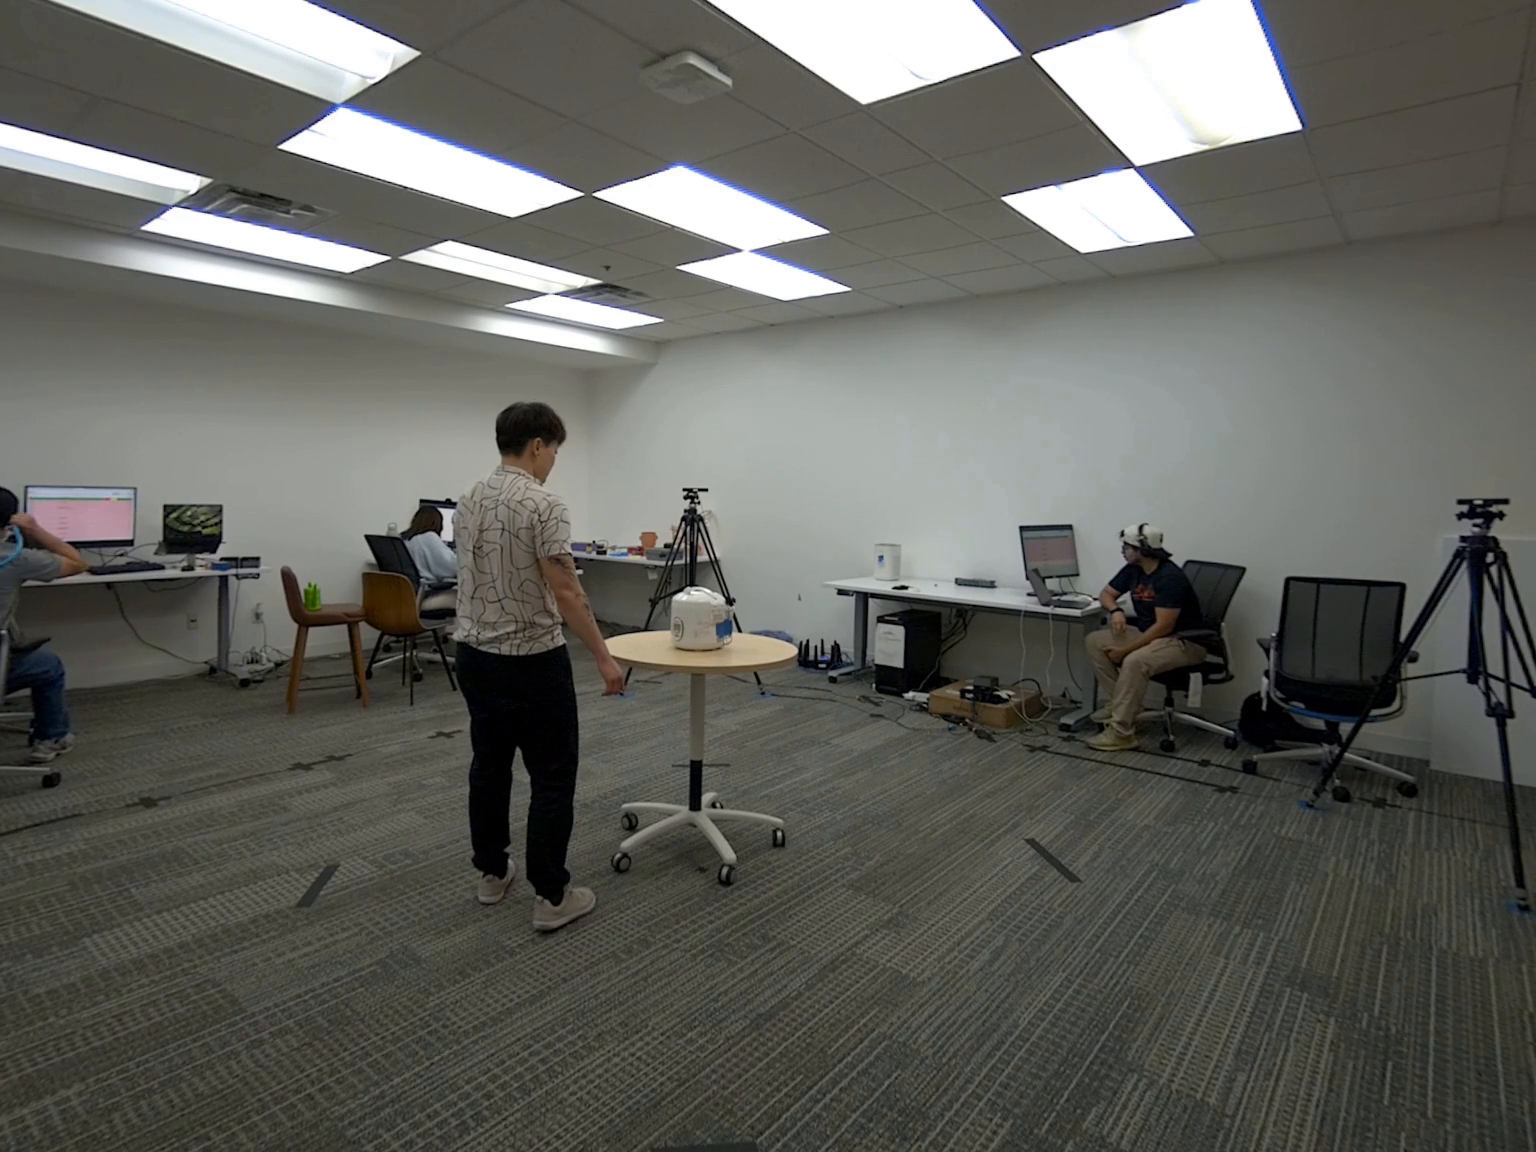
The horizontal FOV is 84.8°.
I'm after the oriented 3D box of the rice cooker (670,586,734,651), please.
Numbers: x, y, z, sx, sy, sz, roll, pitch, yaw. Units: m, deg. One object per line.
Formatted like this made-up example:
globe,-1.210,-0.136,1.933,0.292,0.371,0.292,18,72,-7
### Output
rice cooker,-0.272,0.155,3.263,0.228,0.232,0.211,6,5,42
